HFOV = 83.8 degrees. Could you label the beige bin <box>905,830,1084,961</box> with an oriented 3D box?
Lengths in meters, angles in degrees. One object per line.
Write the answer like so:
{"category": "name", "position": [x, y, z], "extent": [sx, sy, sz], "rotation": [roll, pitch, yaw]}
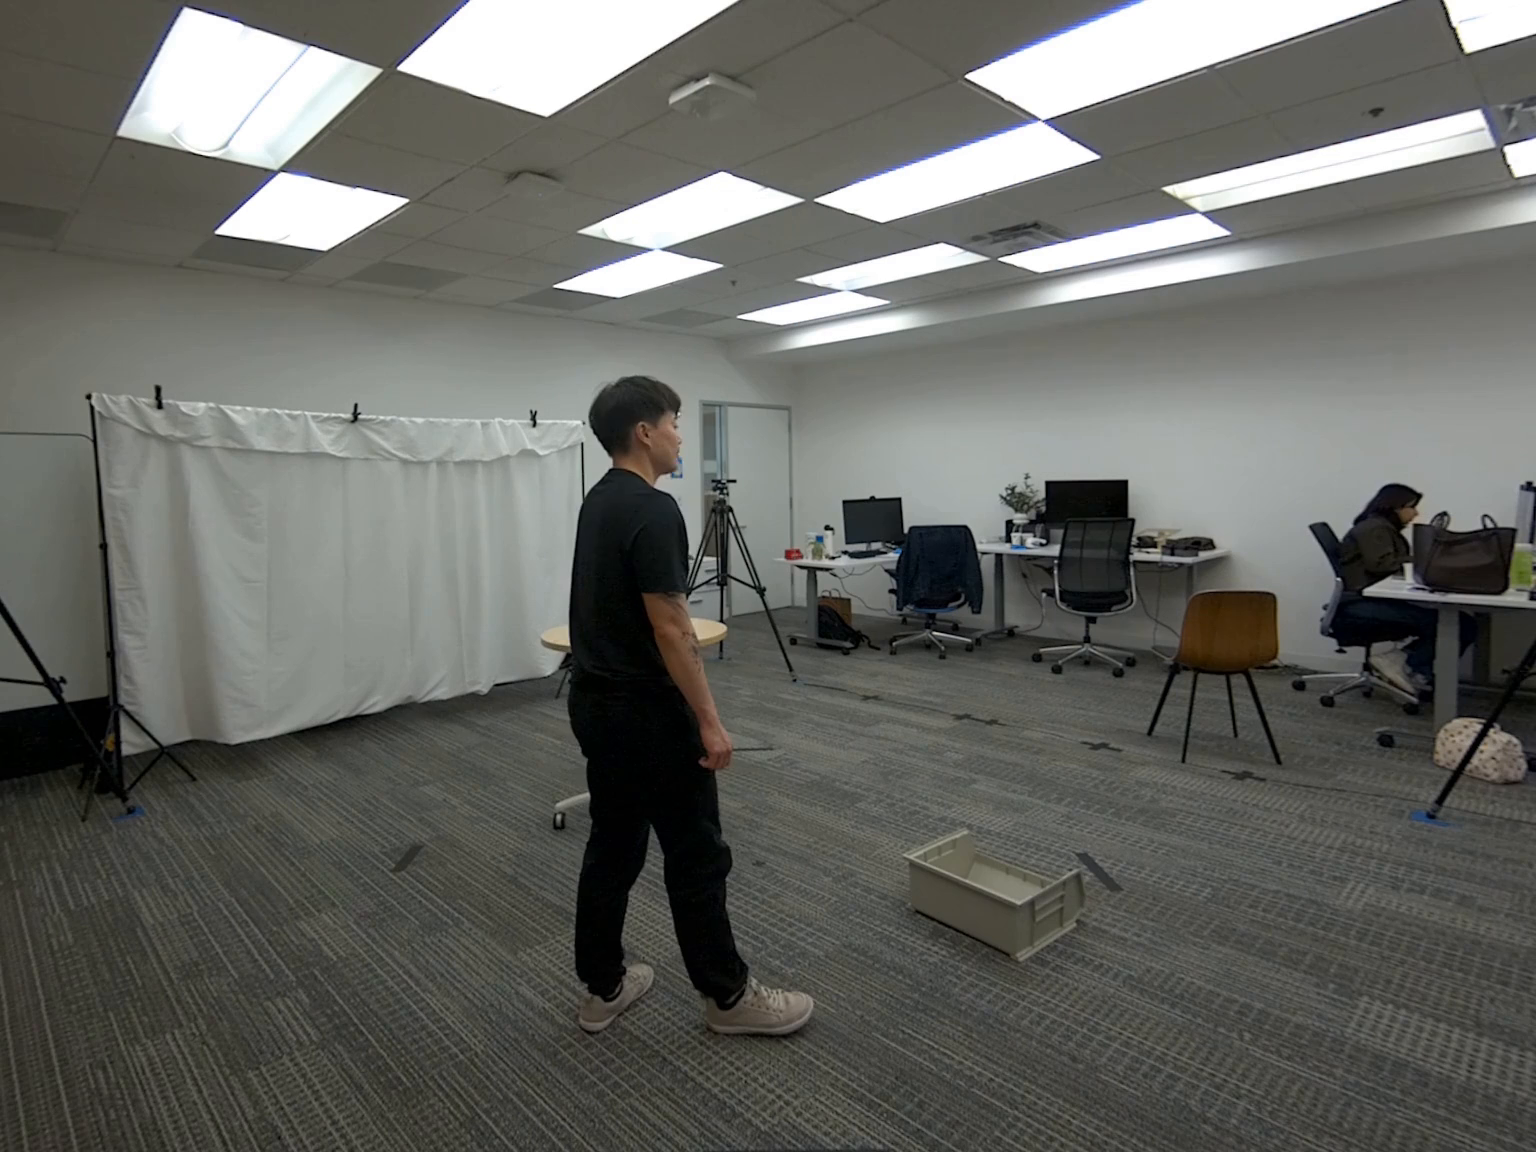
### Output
{"category": "beige bin", "position": [0.719, 0.991, 2.705], "extent": [0.368, 0.188, 0.435], "rotation": [-7, 8, -40]}
